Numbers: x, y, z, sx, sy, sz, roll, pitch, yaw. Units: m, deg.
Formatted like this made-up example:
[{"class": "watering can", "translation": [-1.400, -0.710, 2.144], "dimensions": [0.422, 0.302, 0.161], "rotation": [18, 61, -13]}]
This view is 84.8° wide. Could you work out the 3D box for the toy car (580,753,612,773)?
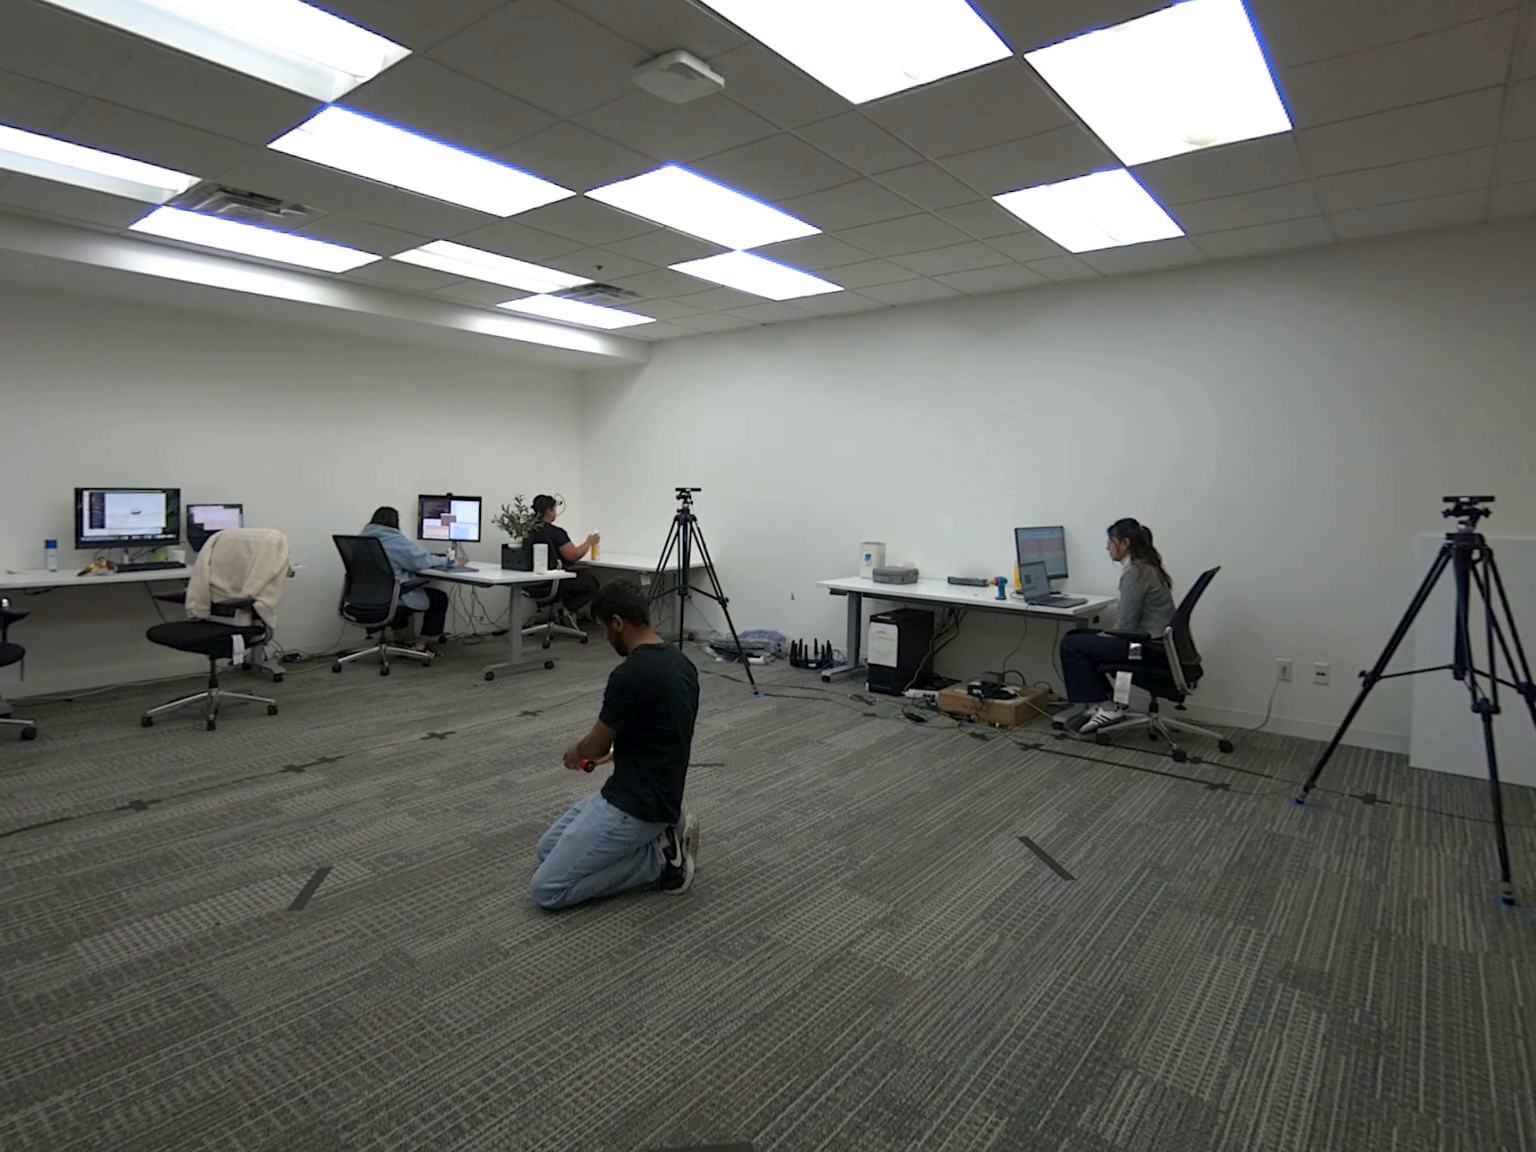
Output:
[{"class": "toy car", "translation": [-0.711, 0.730, 3.415], "dimensions": [0.246, 0.083, 0.134], "rotation": [4, -1, -42]}]
